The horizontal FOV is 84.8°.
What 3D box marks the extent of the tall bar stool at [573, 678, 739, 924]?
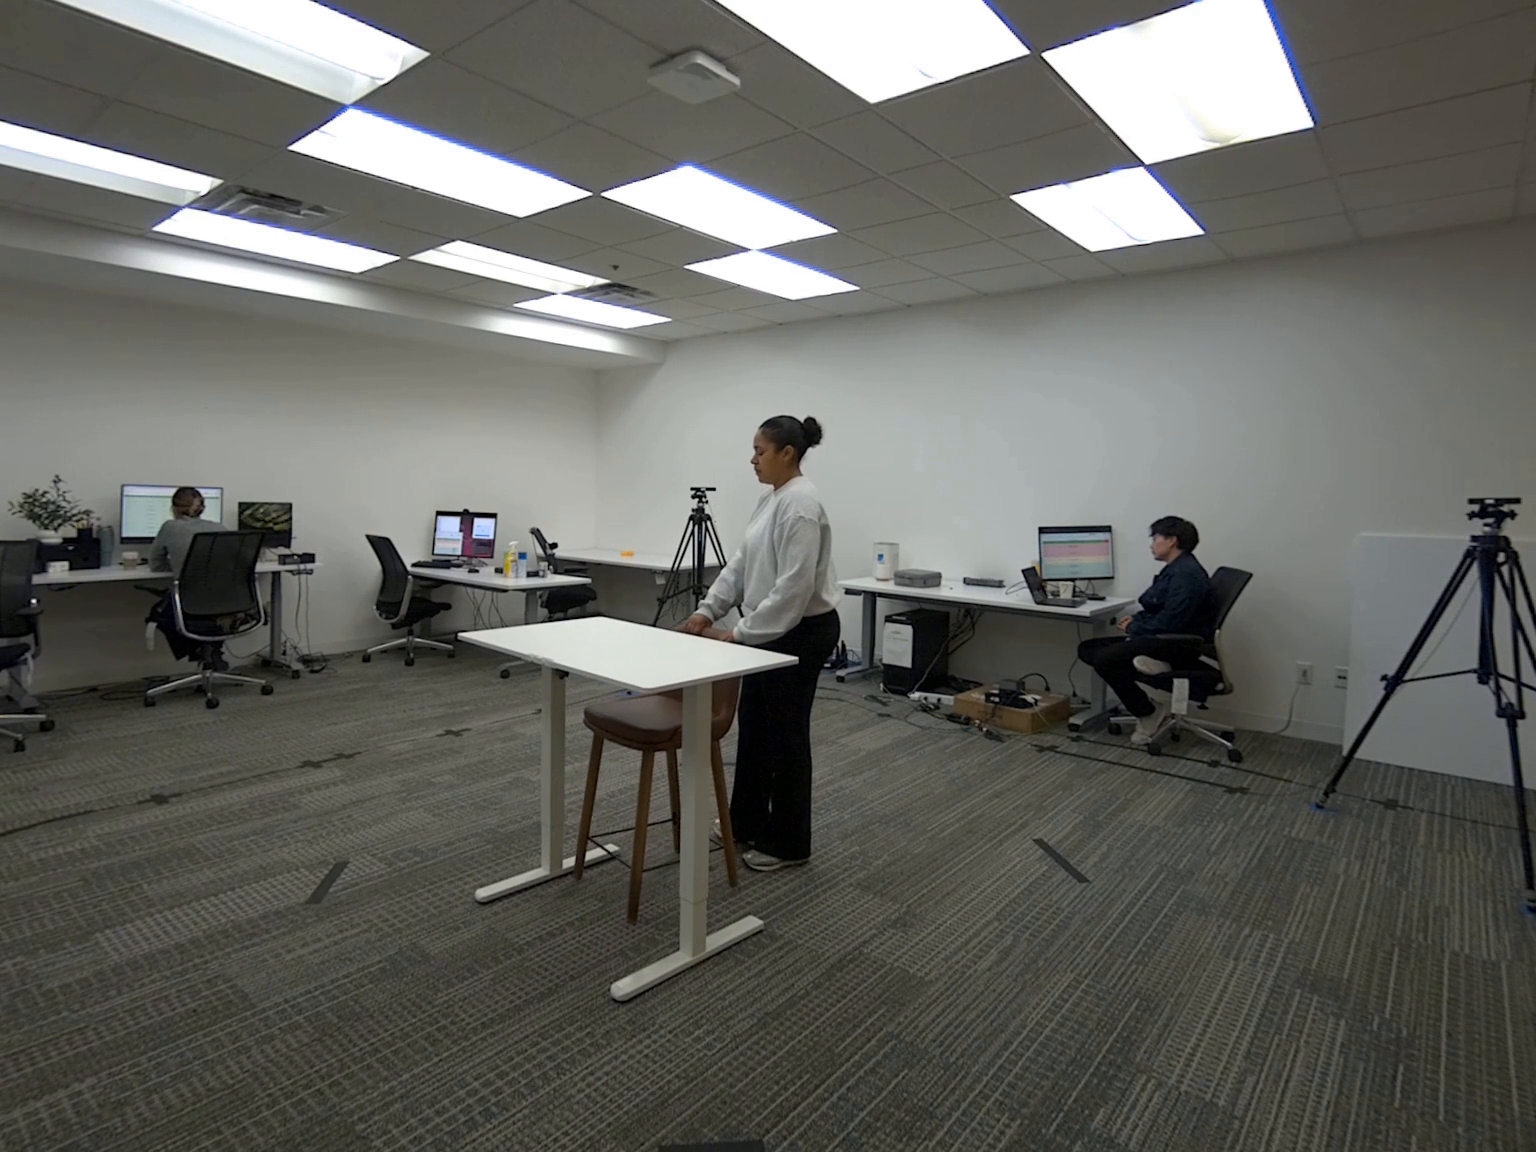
[{"bbox_3d":[-0.382,0.639,2.975,0.453,0.889,0.472,2,2,-39],"label":"tall bar stool"}]
